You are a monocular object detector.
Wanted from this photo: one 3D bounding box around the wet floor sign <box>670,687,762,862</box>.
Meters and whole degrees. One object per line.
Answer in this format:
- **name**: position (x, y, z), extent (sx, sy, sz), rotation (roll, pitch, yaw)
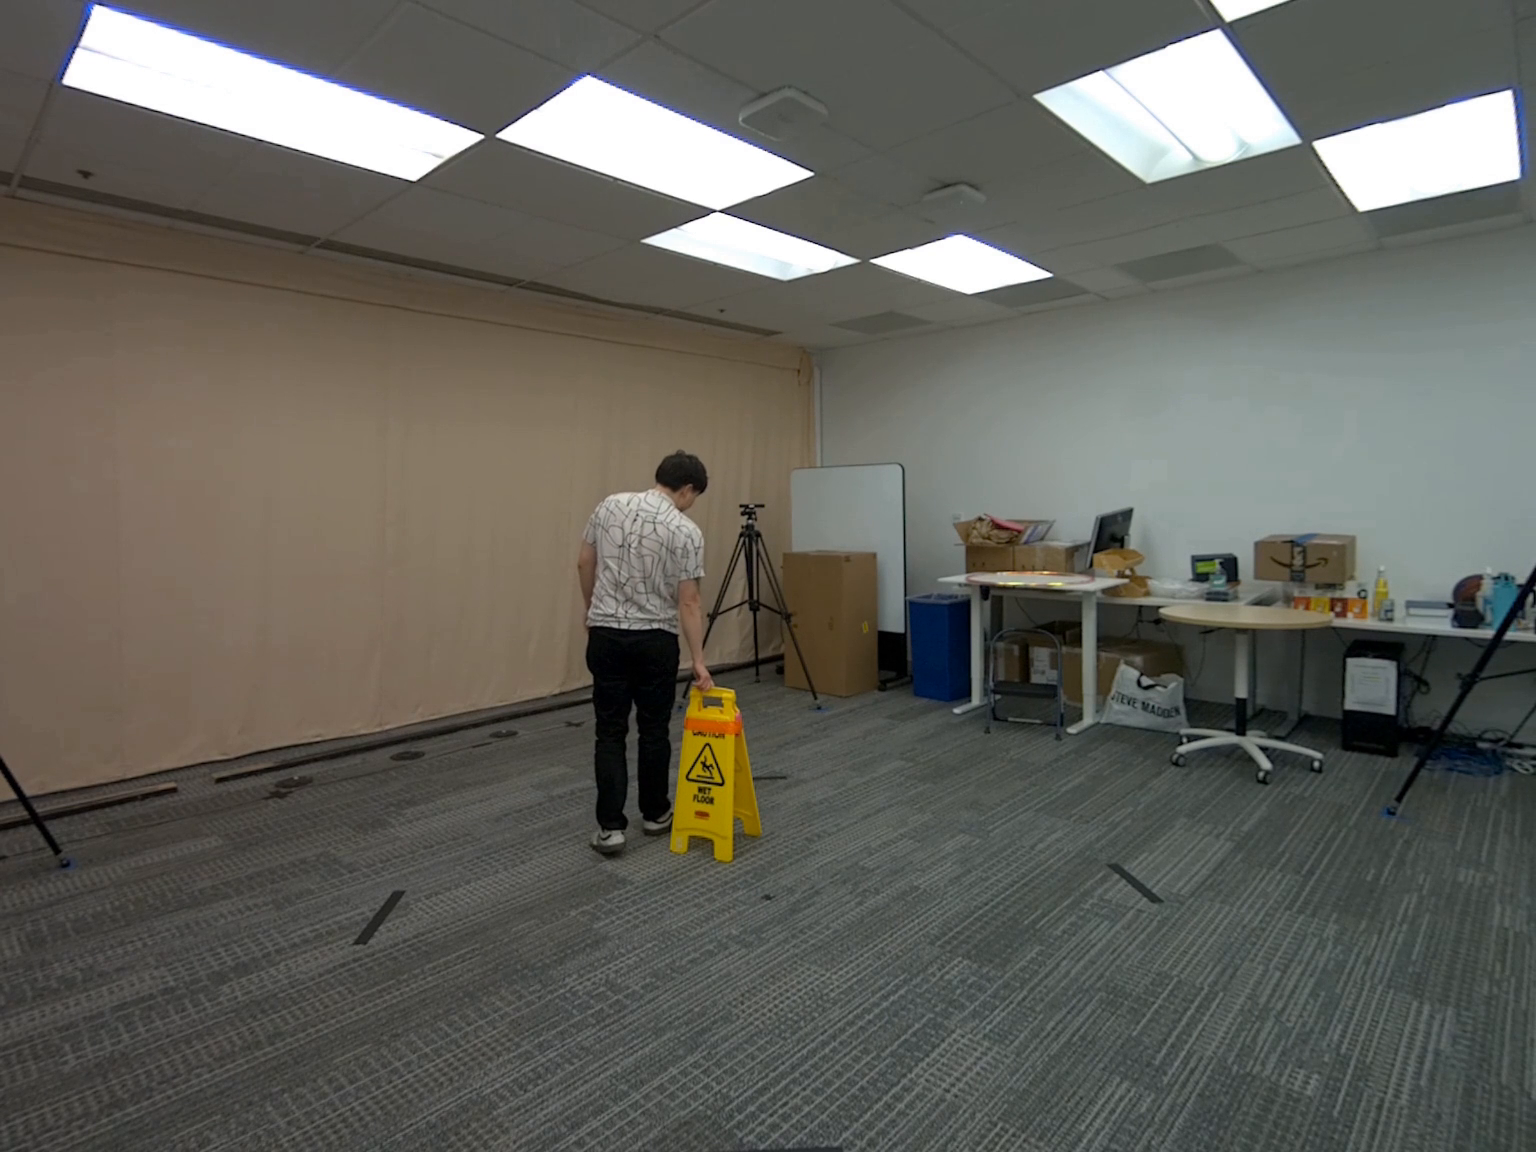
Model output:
- **wet floor sign**: position (-0.217, 0.780, 3.453), extent (0.289, 0.644, 0.283), rotation (-1, 4, 26)
